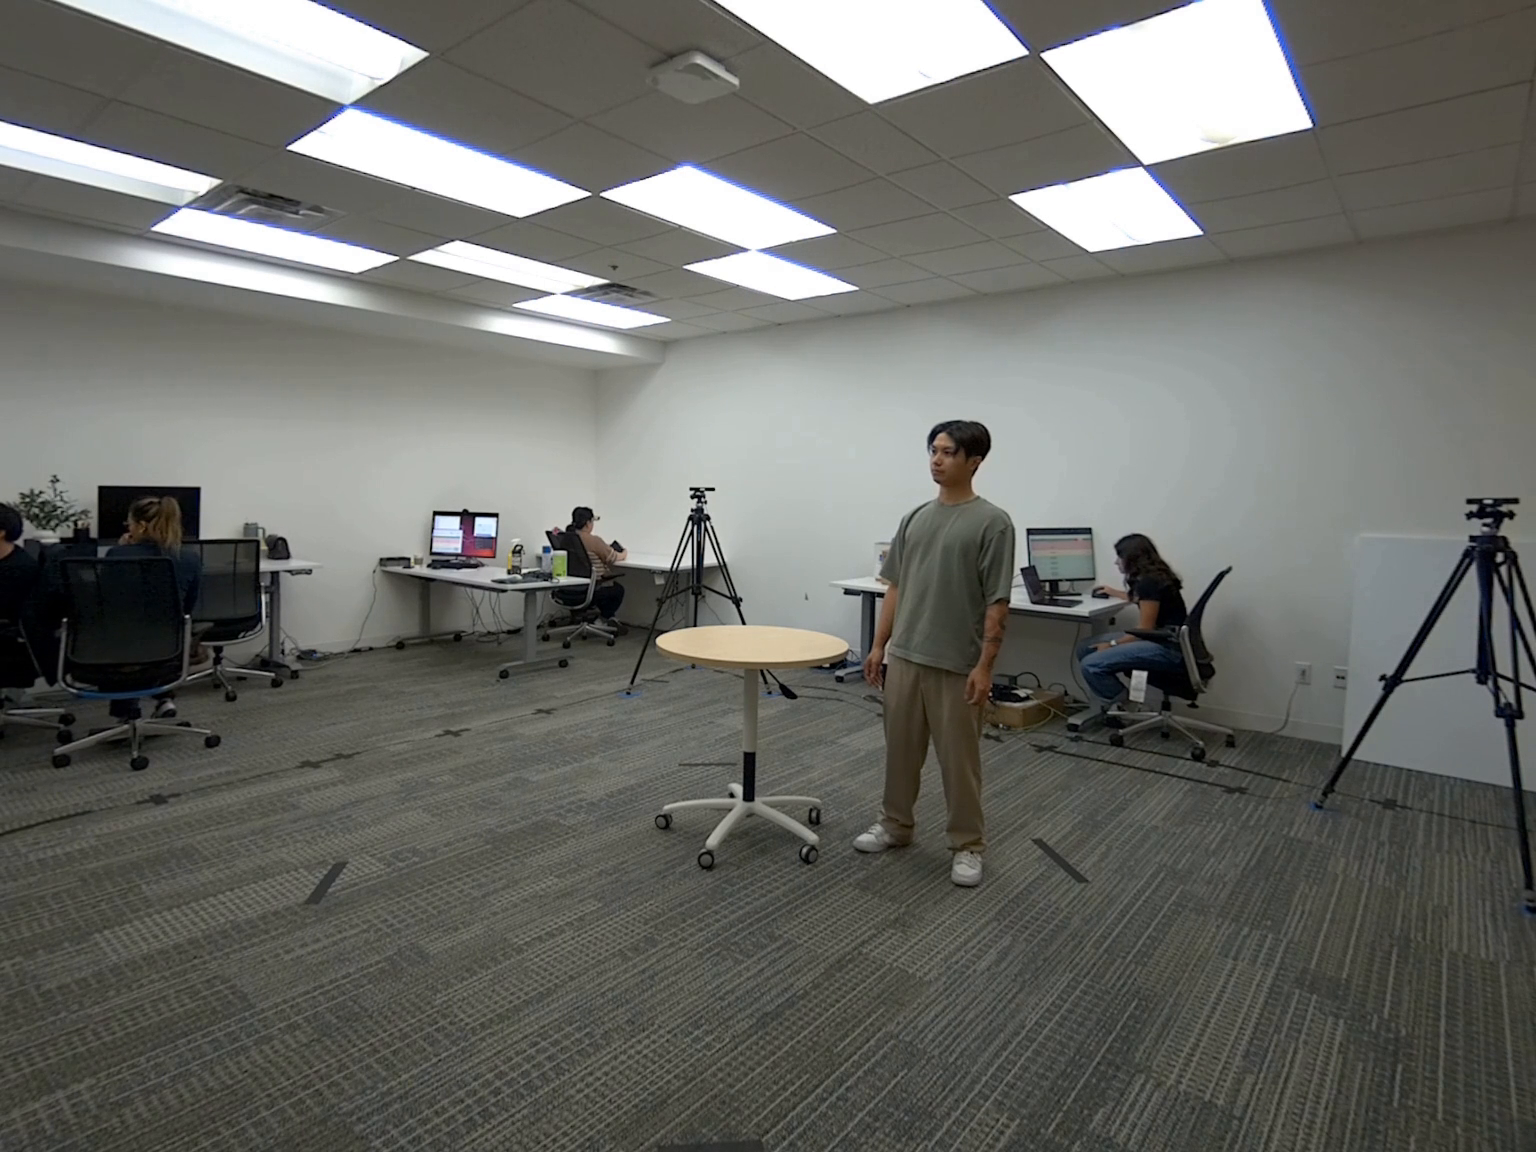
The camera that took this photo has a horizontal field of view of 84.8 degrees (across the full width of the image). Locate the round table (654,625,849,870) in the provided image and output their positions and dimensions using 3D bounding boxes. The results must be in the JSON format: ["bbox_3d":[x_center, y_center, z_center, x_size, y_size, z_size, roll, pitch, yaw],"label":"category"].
[{"bbox_3d":[-0.085,0.652,3.418,0.763,0.791,0.768,1,4,-2],"label":"round table"}]
